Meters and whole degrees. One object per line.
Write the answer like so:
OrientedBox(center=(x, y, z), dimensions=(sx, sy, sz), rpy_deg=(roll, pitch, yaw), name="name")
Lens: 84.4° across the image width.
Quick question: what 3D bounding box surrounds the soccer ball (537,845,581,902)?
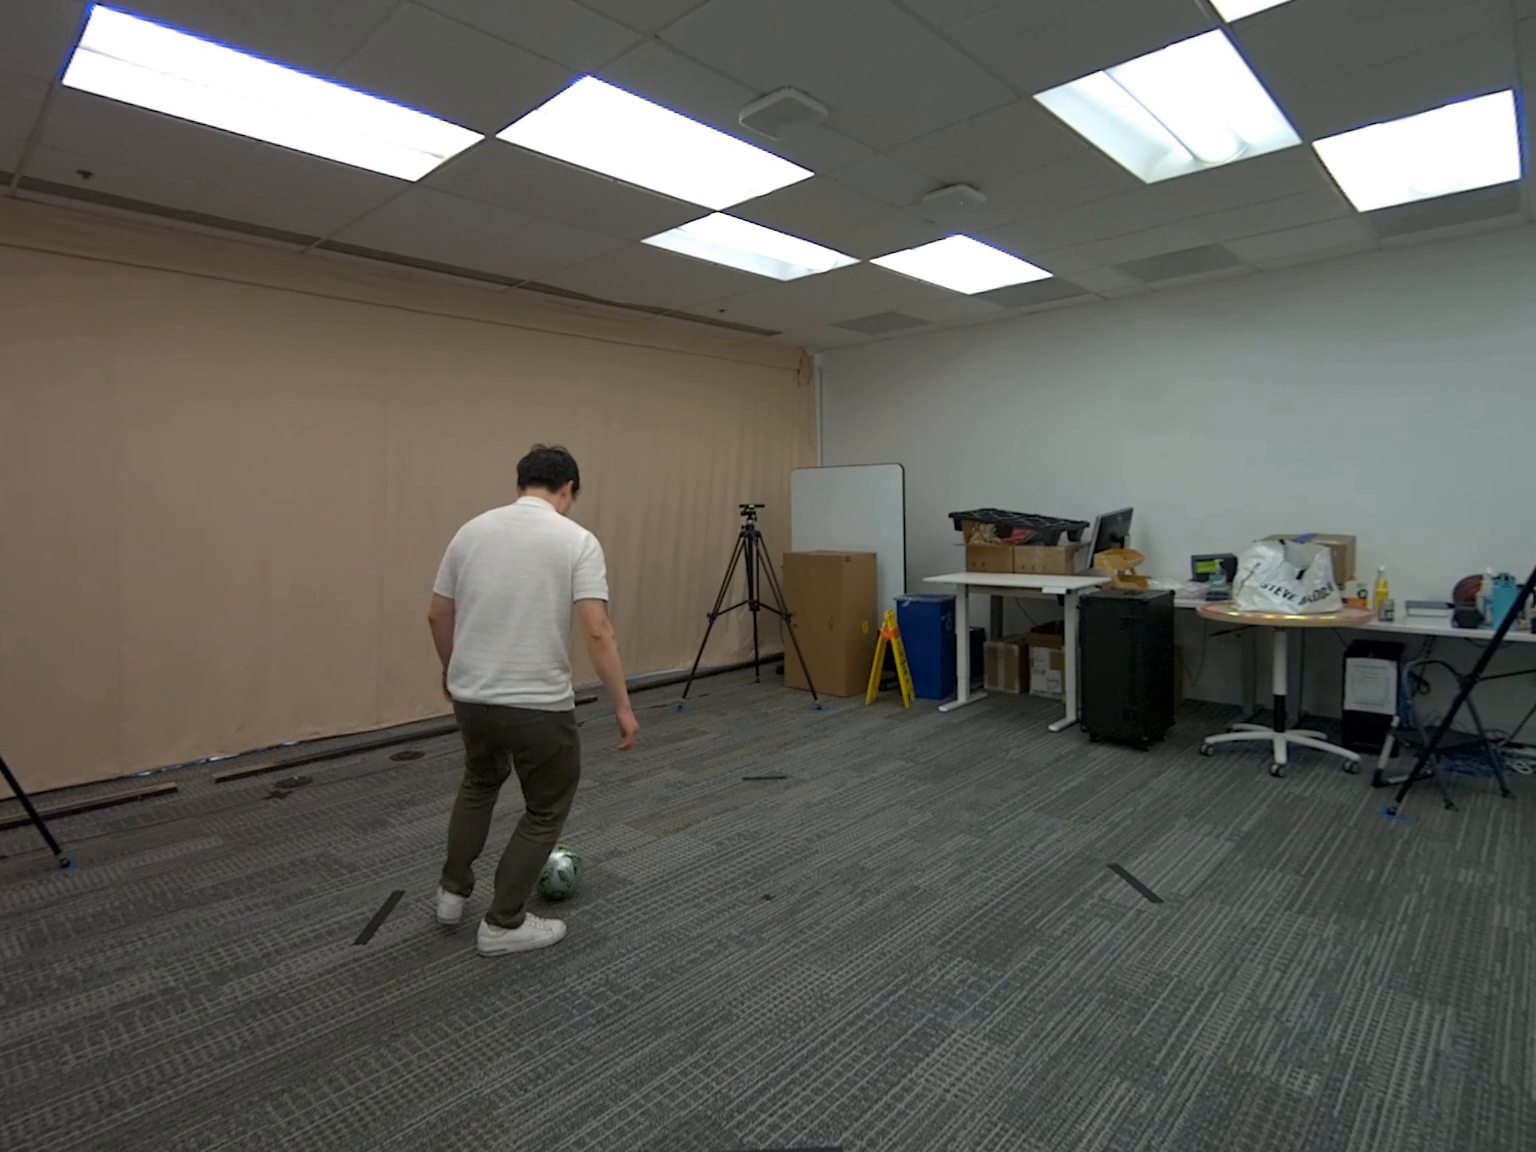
OrientedBox(center=(-0.751, 1.061, 3.024), dimensions=(0.187, 0.187, 0.188), rpy_deg=(-1, 4, -2), name="soccer ball")
